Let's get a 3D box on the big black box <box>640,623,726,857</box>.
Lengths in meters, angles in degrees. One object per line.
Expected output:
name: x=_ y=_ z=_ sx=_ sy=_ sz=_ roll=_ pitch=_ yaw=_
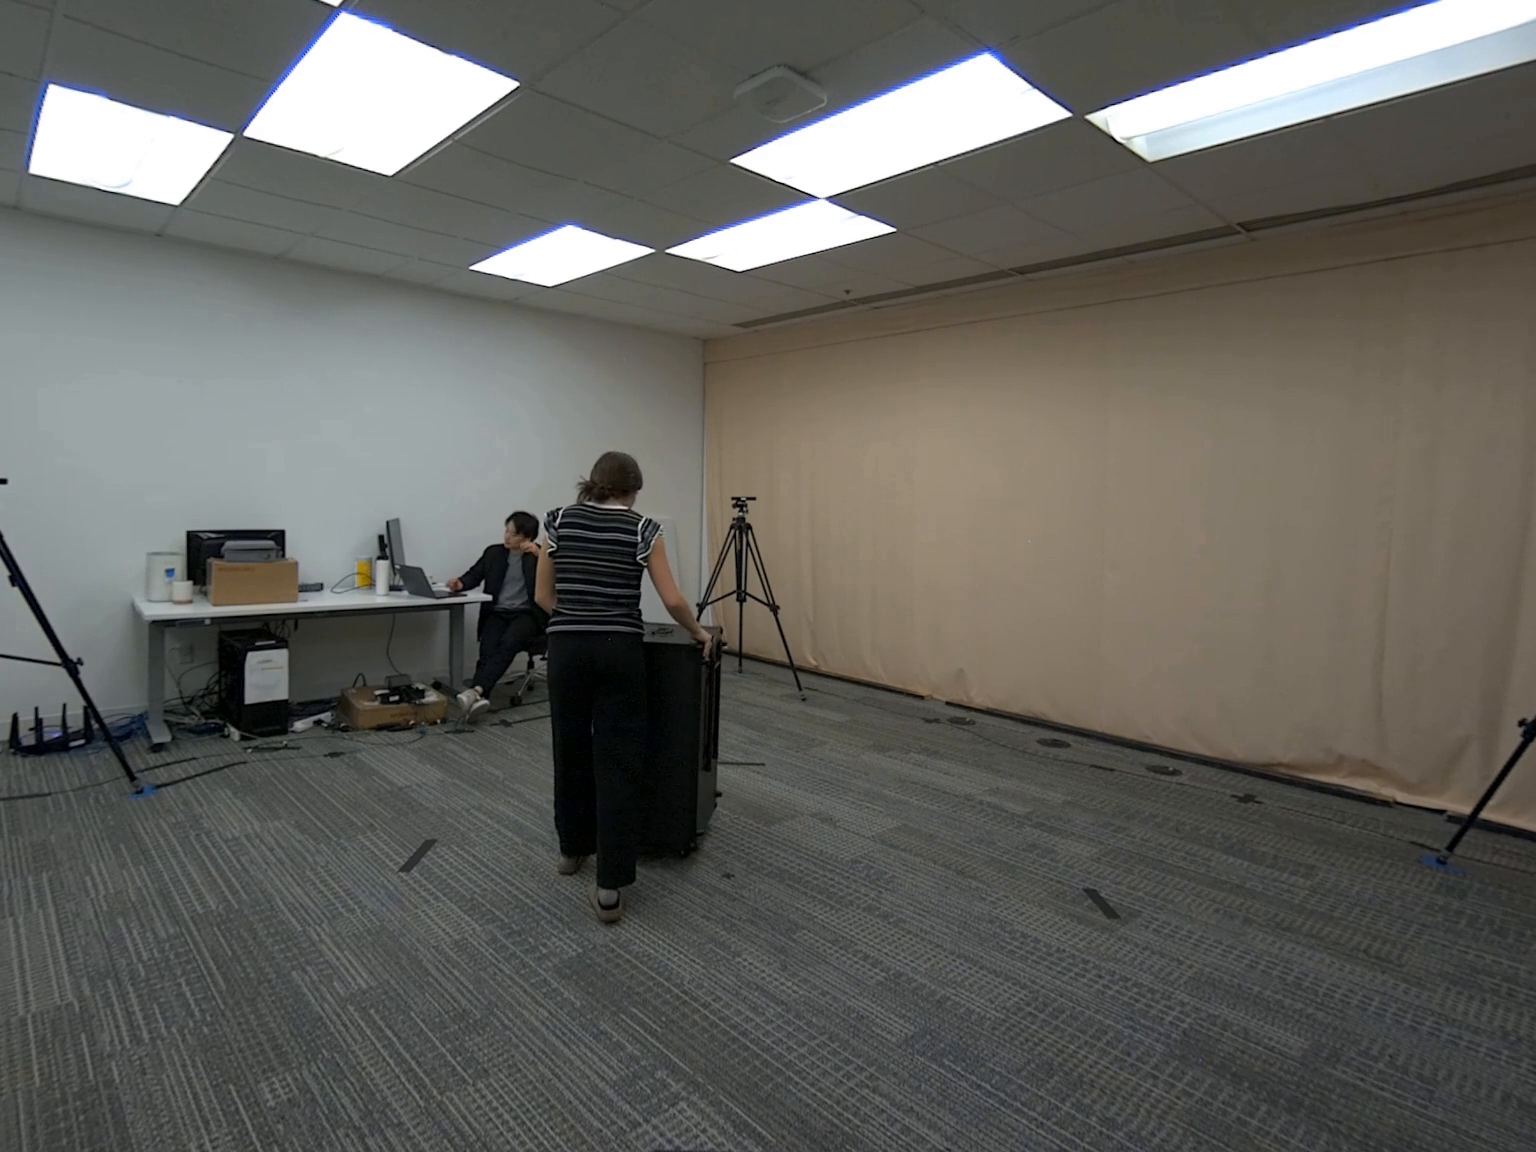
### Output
big black box: x=-0.401 y=0.654 z=3.388 sx=0.399 sy=0.859 sz=0.519 roll=3 pitch=3 yaw=7
